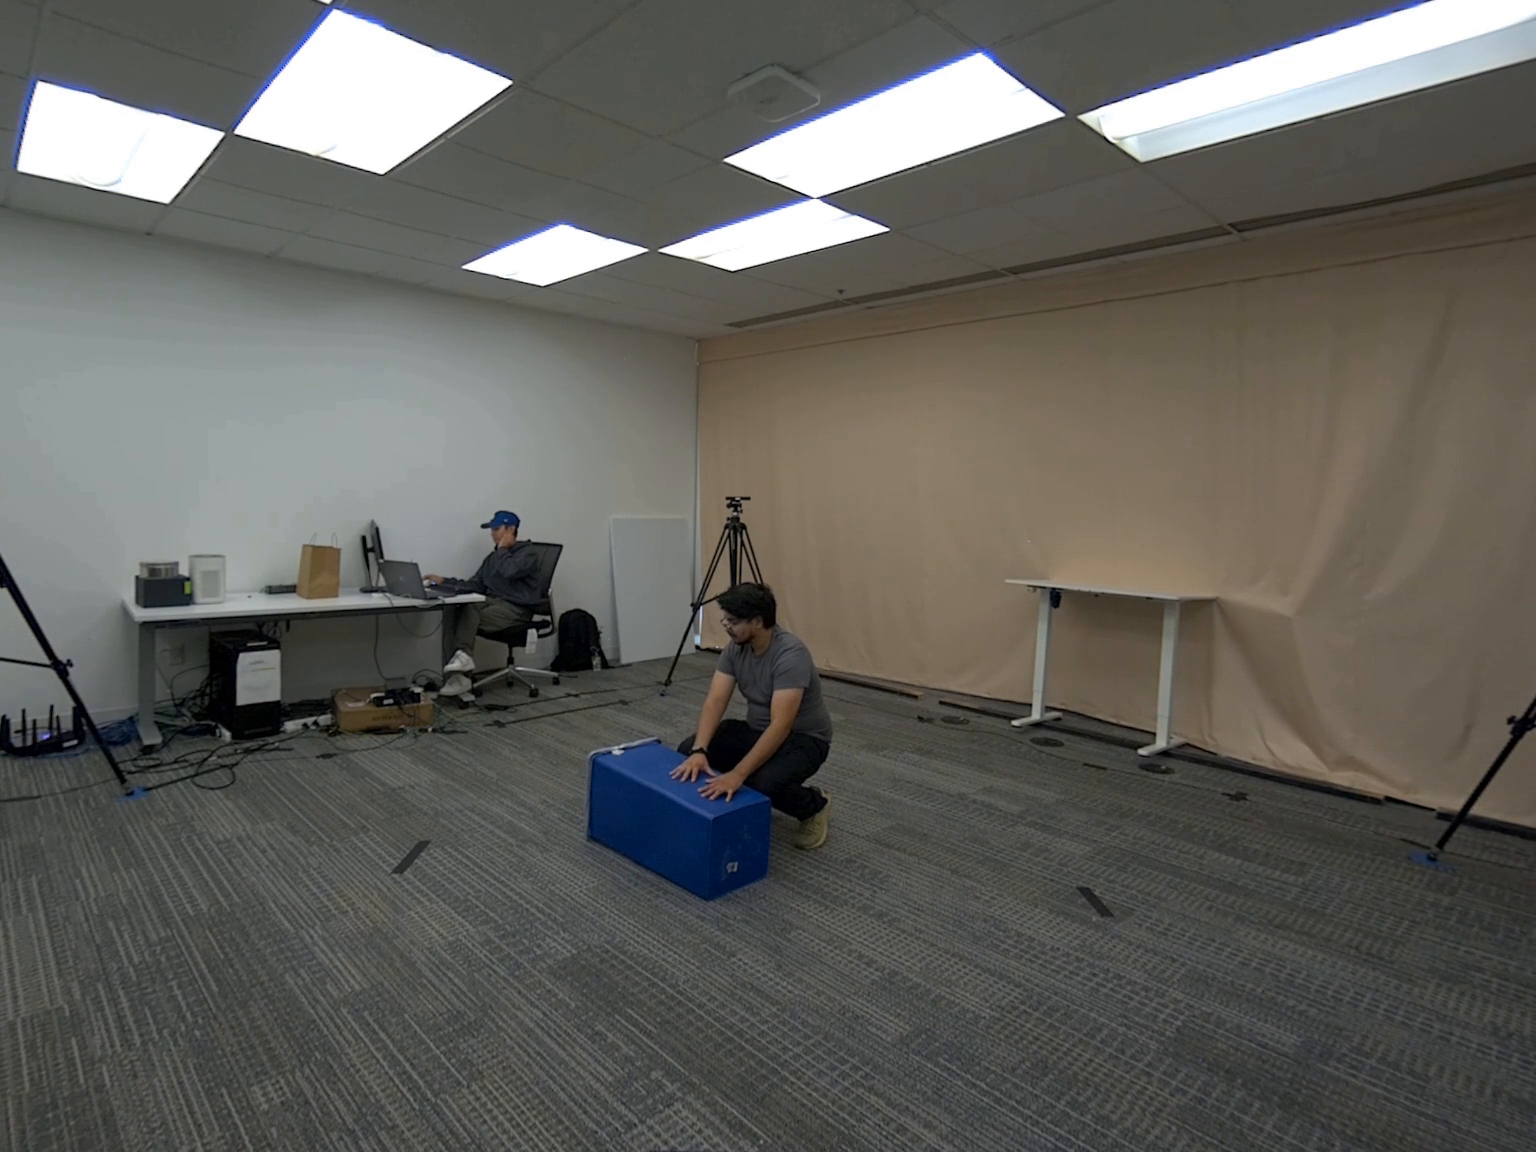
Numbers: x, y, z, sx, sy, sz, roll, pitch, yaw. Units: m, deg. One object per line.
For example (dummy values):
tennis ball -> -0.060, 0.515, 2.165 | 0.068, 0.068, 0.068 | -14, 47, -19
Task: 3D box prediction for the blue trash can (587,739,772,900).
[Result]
blue trash can -> -0.361, 0.919, 3.234 | 0.365, 0.377, 0.733 | -2, 8, -44
